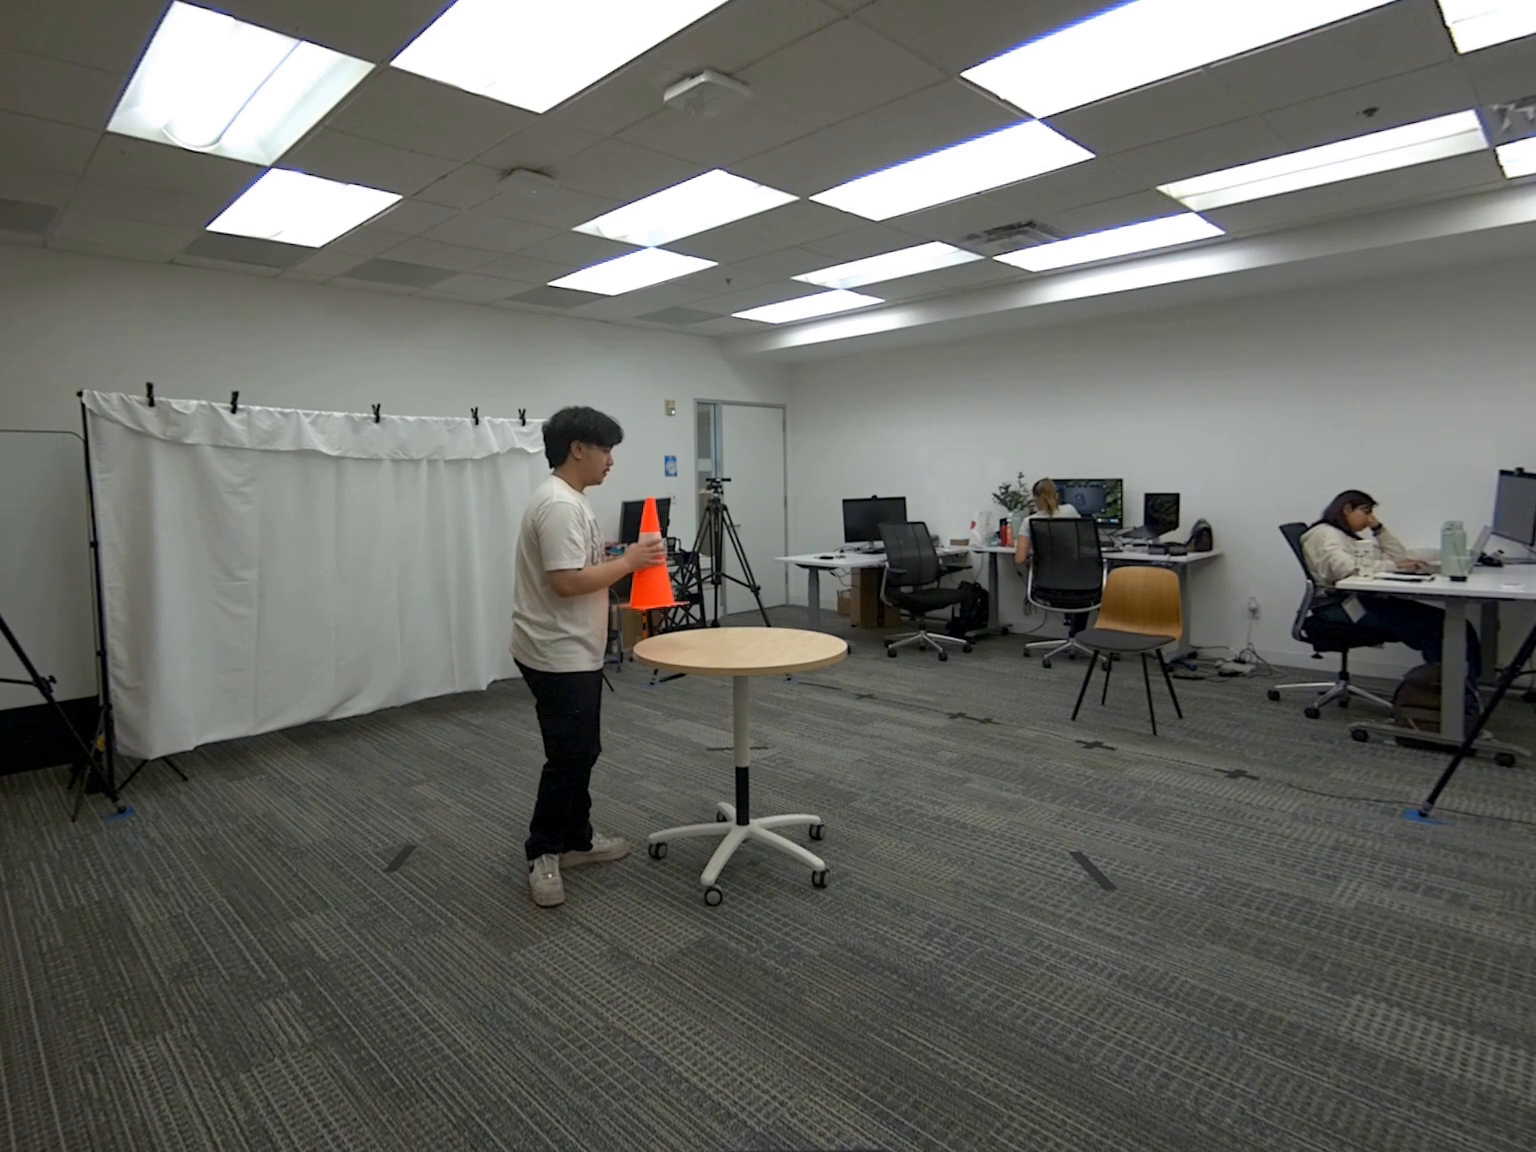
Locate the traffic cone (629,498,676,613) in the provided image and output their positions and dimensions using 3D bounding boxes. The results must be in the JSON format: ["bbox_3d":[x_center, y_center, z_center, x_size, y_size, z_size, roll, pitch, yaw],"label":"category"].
[{"bbox_3d":[-0.425,-0.085,3.016,0.209,0.383,0.199,-1,1,37],"label":"traffic cone"}]
